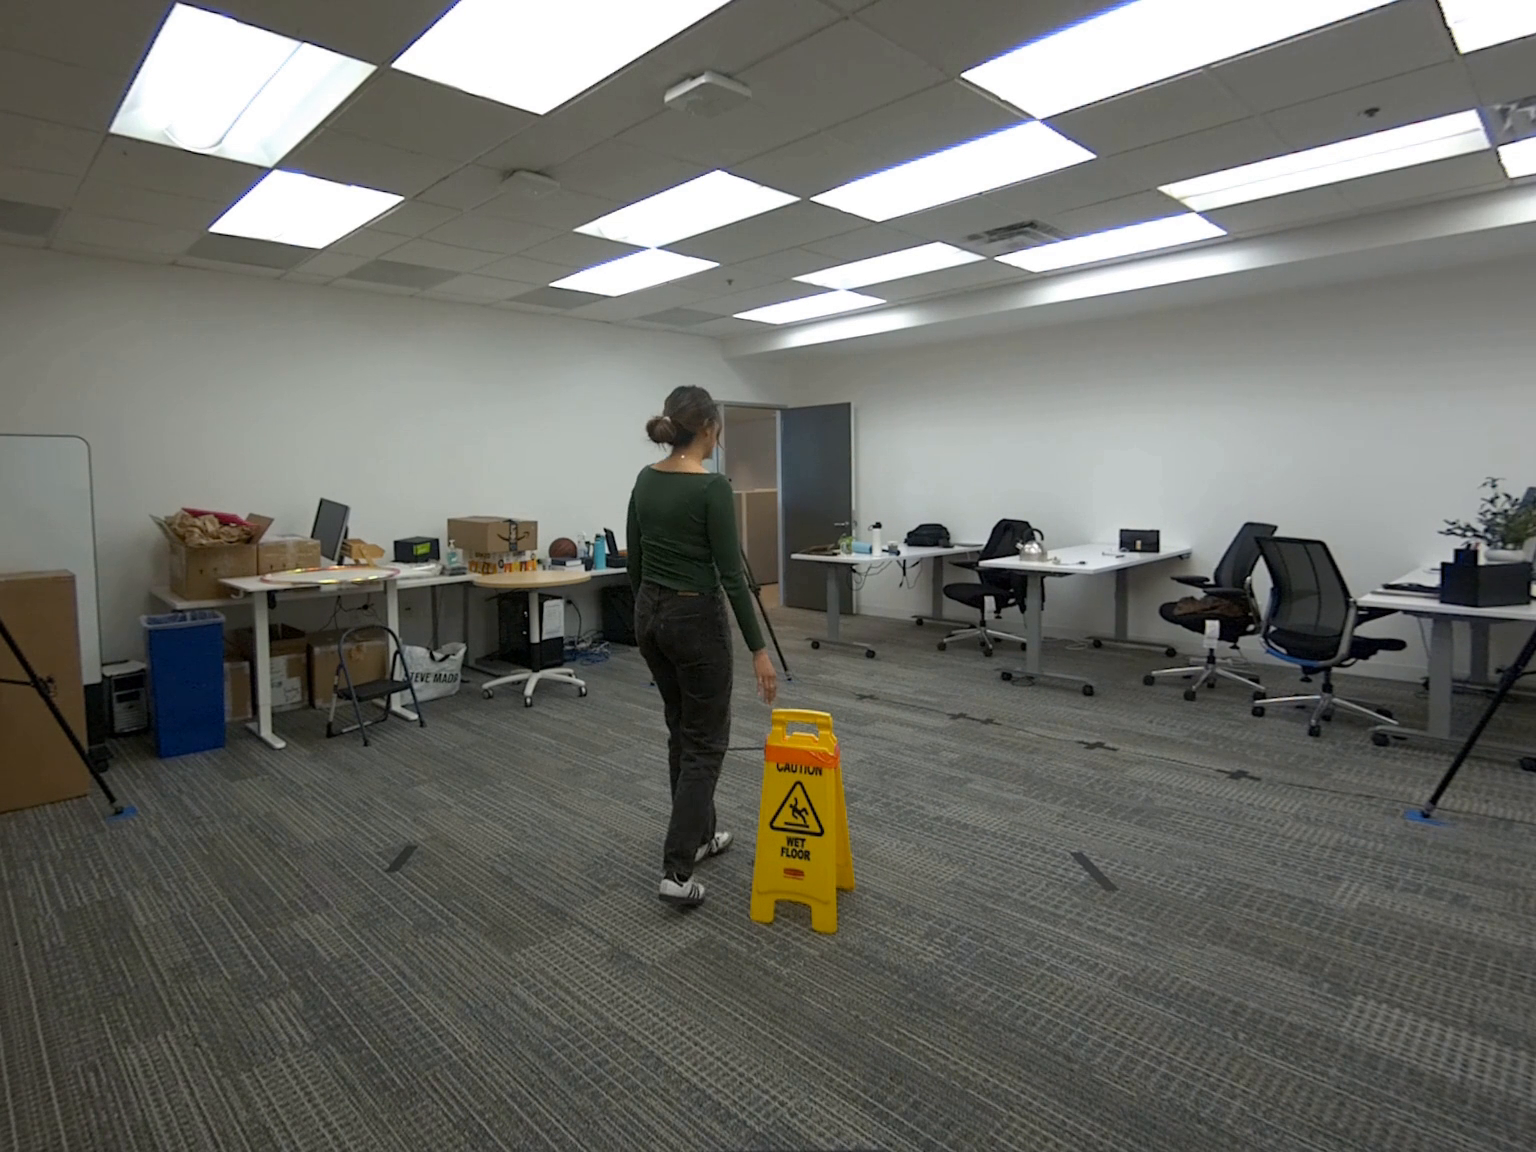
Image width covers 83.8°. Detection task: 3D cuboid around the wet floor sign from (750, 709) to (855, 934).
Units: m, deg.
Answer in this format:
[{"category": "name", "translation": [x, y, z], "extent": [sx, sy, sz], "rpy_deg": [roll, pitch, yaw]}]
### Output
[{"category": "wet floor sign", "translation": [0.117, 0.756, 2.784], "extent": [0.288, 0.644, 0.285], "rpy_deg": [1, 4, 19]}]
